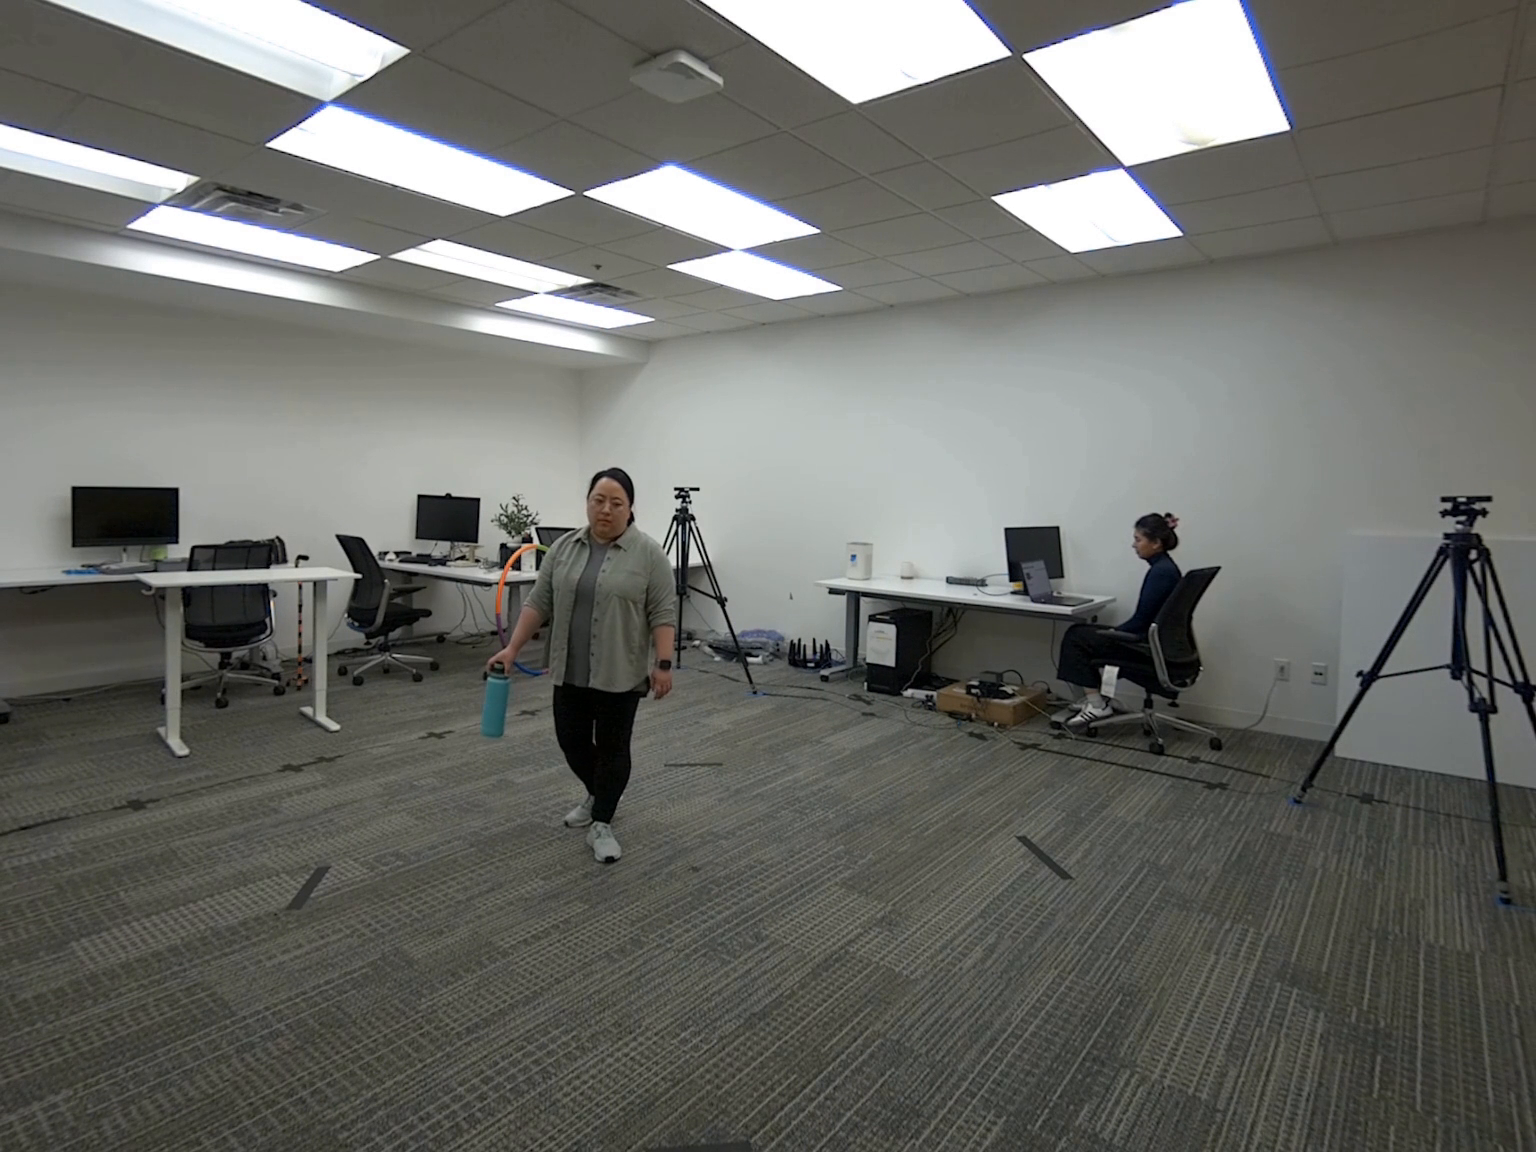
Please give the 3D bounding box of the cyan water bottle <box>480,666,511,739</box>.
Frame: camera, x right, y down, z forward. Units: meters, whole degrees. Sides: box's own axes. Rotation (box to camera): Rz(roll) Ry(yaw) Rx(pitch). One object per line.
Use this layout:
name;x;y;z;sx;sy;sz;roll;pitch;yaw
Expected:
cyan water bottle;-1.058;0.471;3.286;0.092;0.283;0.093;8;3;-2
